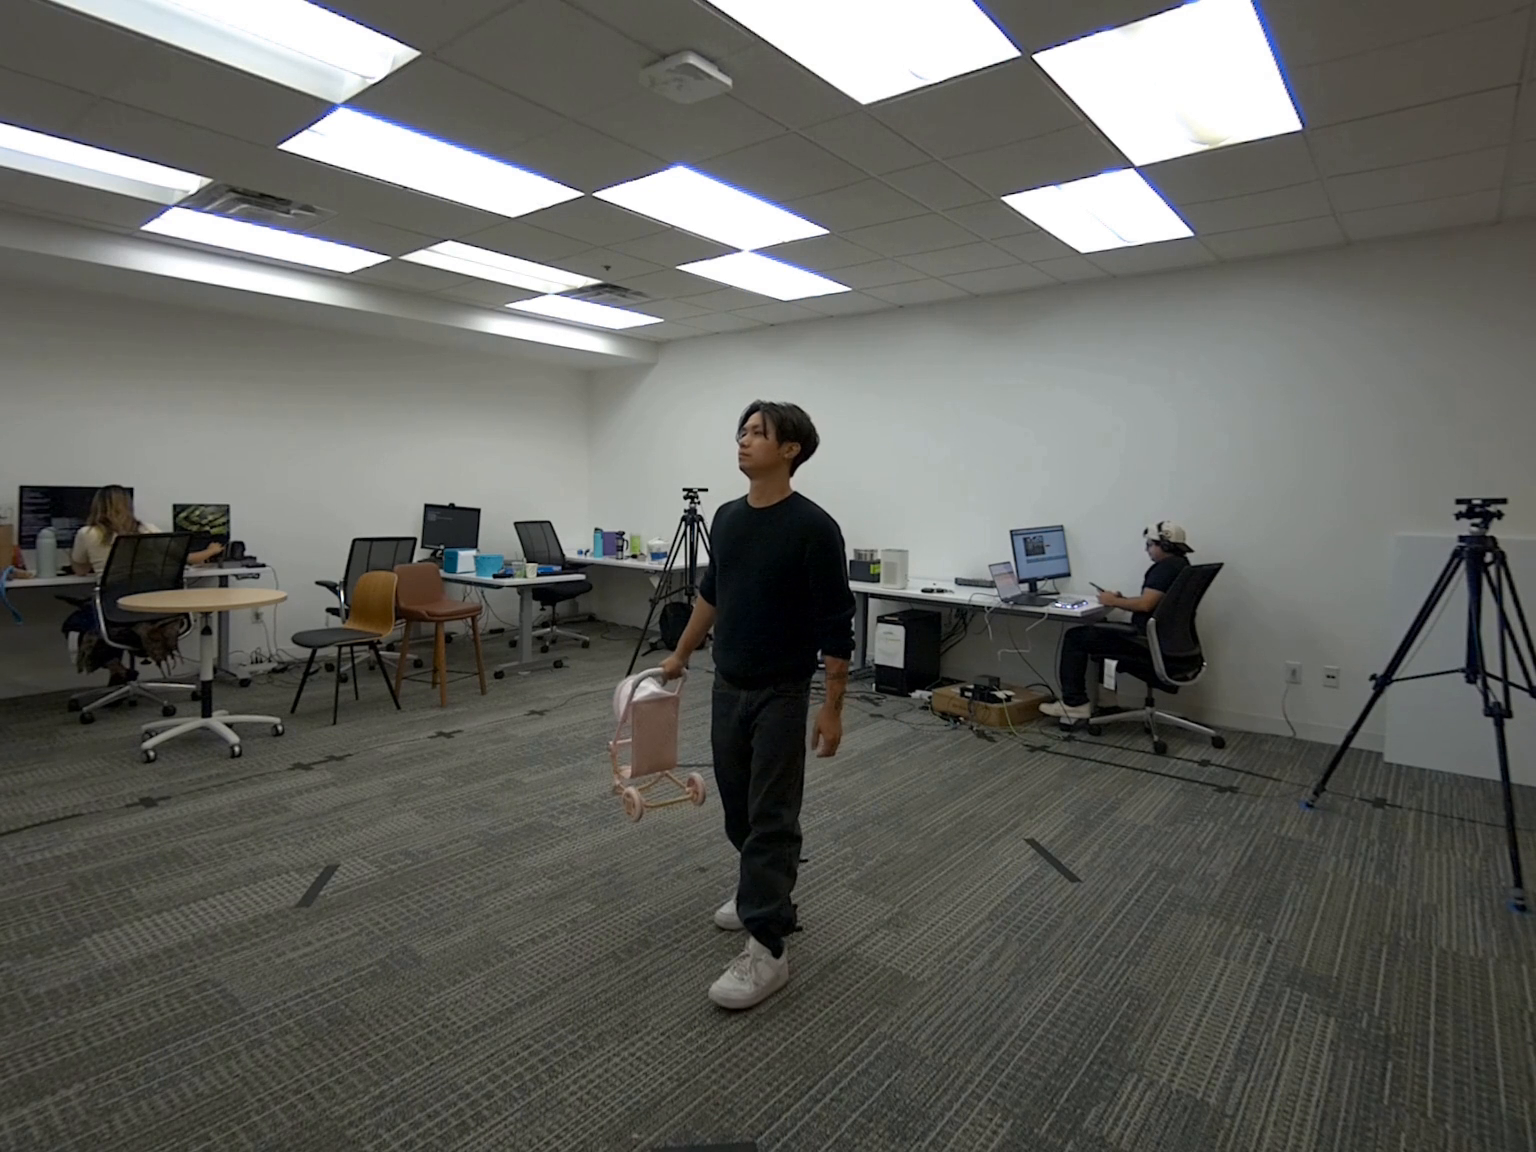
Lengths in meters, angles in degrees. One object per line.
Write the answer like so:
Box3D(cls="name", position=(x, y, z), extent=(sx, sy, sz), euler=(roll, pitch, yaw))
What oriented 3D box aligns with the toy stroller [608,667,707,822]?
Box3D(cls="toy stroller", position=(-0.417, 0.578, 2.923), extent=(0.274, 0.536, 0.350), euler=(-3, -2, -32))
